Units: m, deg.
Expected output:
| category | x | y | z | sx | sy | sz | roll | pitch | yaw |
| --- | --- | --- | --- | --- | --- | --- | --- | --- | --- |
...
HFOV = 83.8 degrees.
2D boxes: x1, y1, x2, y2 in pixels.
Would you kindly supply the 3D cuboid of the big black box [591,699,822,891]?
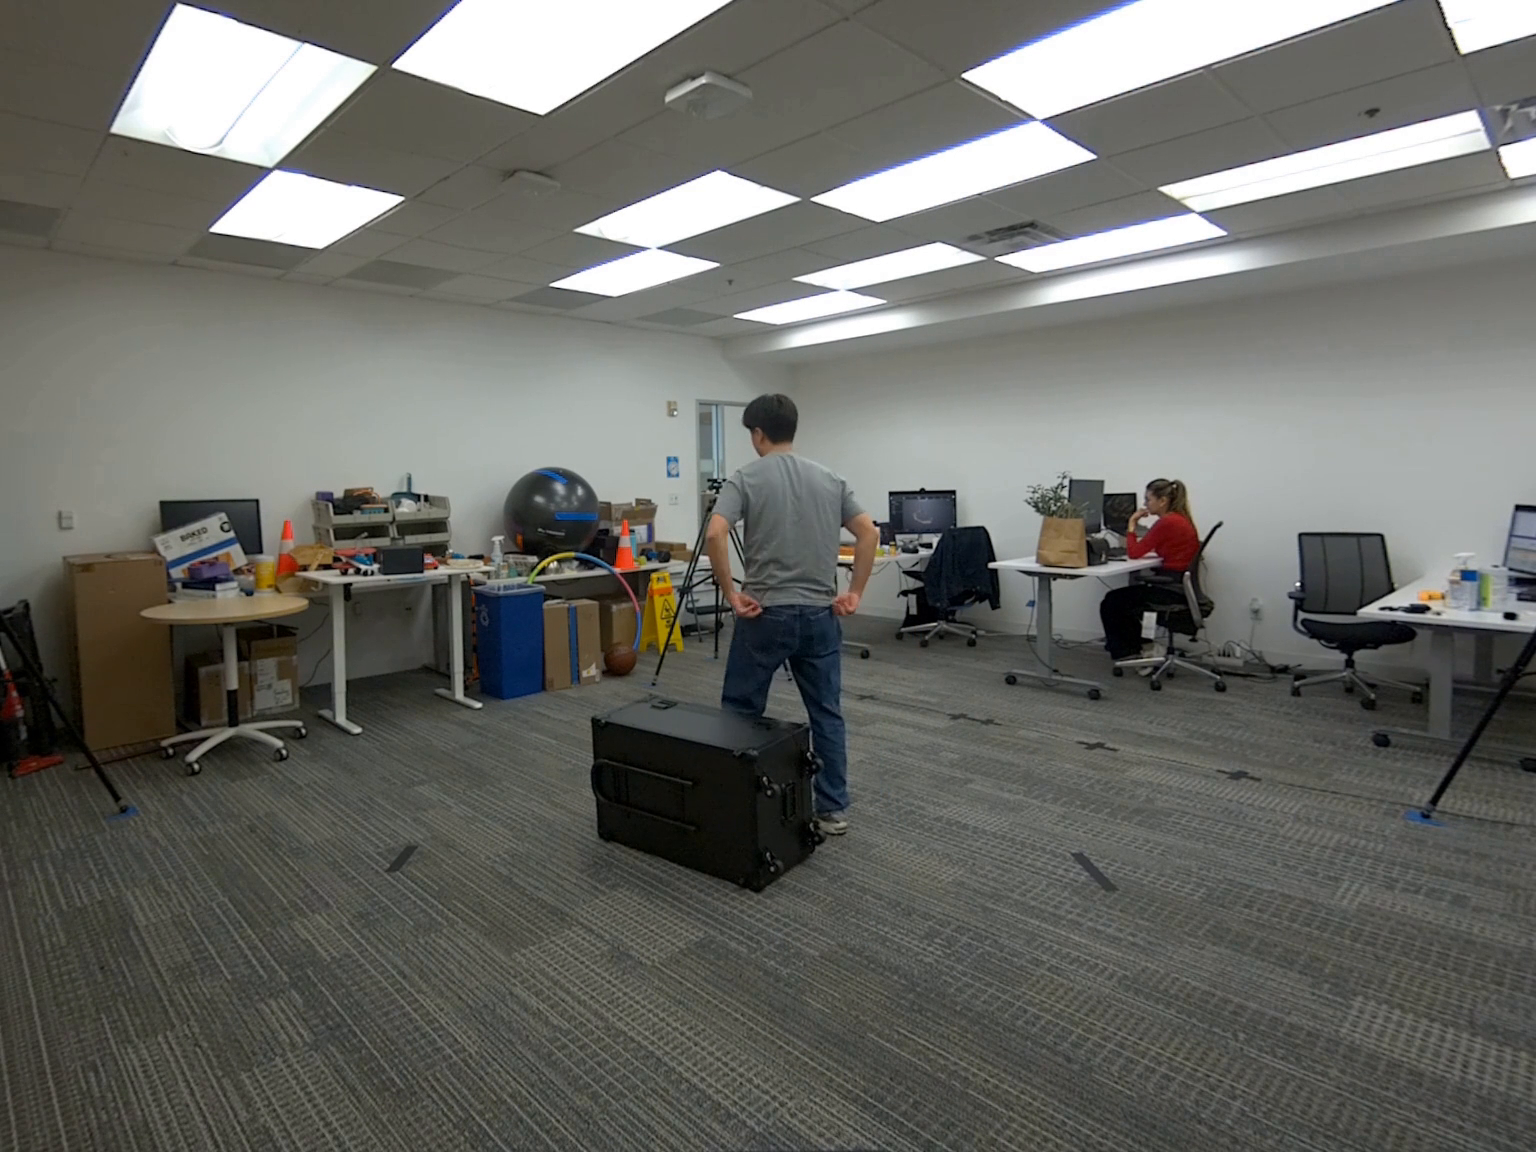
| category | x | y | z | sx | sy | sz | roll | pitch | yaw |
| --- | --- | --- | --- | --- | --- | --- | --- | --- | --- |
| big black box | -0.240 | 0.779 | 3.205 | 0.887 | 0.518 | 0.387 | 3 | 8 | 36 |
